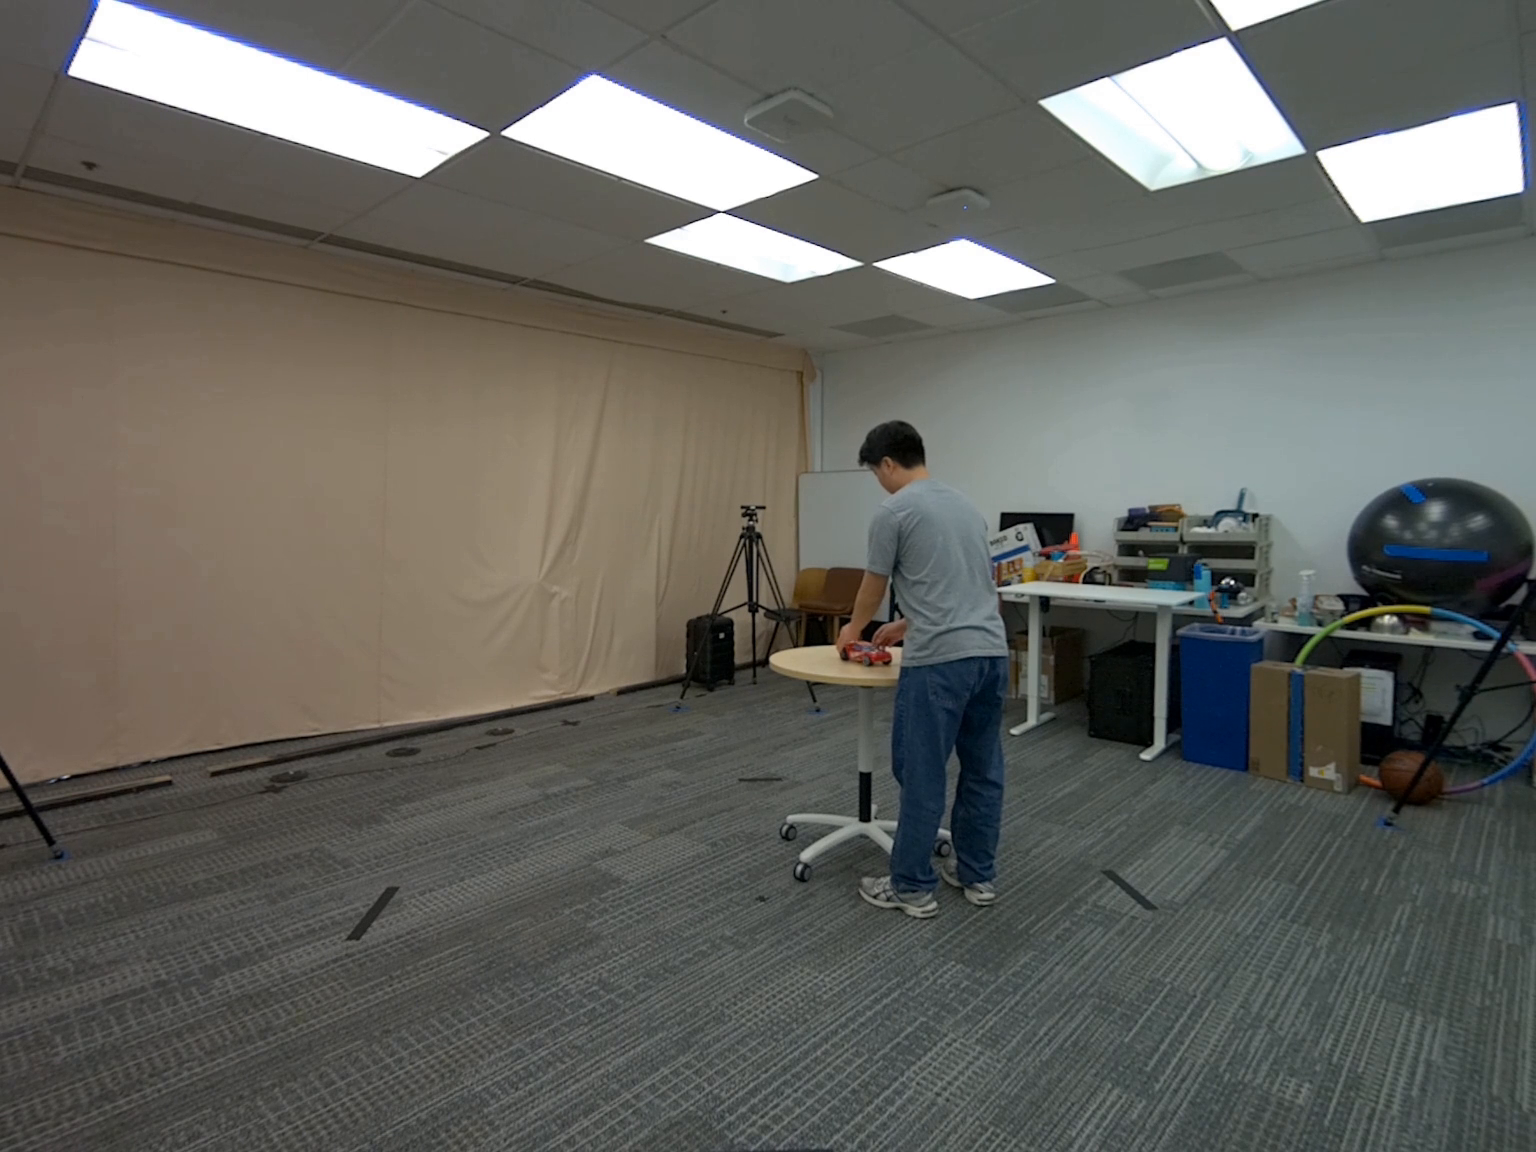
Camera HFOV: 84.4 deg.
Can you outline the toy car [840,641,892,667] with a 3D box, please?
[{"bbox_3d":[0.381,0.304,3.293,0.127,0.083,0.263,-1,15,-29],"label":"toy car"}]
